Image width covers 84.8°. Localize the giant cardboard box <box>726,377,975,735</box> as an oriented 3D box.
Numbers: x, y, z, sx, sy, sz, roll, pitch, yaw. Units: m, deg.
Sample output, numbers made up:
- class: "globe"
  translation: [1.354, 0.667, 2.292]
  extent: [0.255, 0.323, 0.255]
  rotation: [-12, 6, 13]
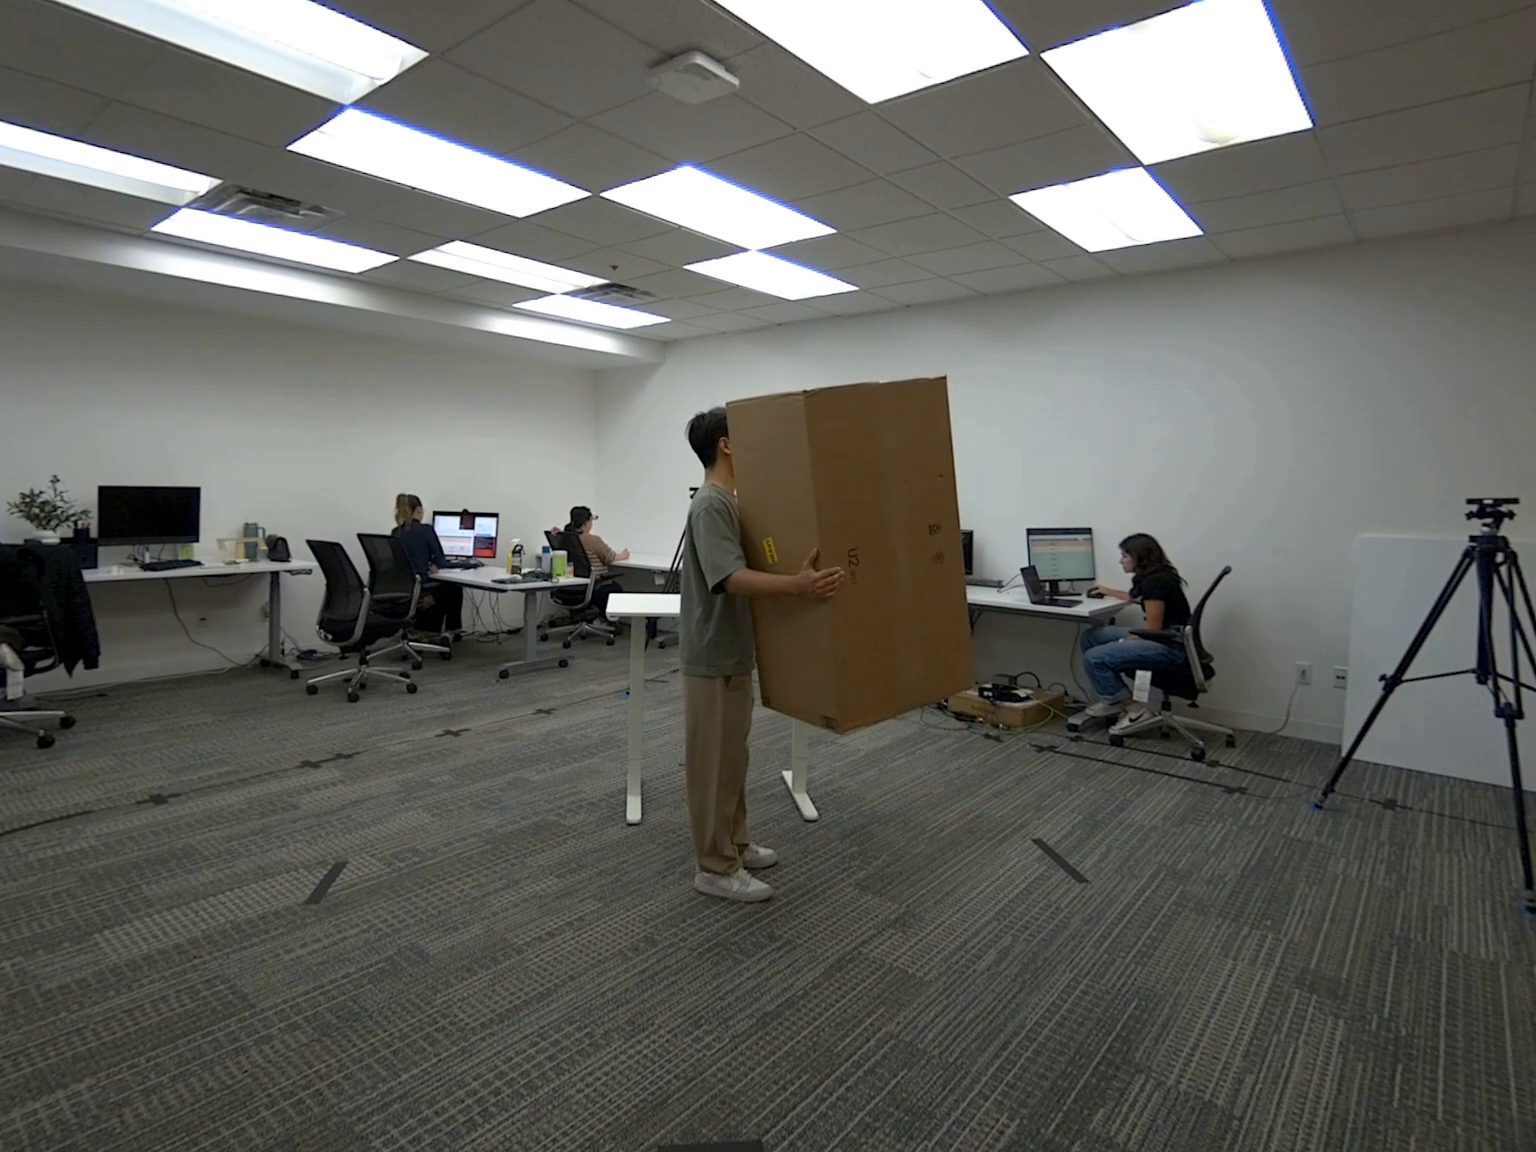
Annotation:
- class: "giant cardboard box"
  translation: [0.264, -0.090, 2.770]
  extent: [0.564, 1.017, 0.439]
  rotation: [-12, 9, -32]
